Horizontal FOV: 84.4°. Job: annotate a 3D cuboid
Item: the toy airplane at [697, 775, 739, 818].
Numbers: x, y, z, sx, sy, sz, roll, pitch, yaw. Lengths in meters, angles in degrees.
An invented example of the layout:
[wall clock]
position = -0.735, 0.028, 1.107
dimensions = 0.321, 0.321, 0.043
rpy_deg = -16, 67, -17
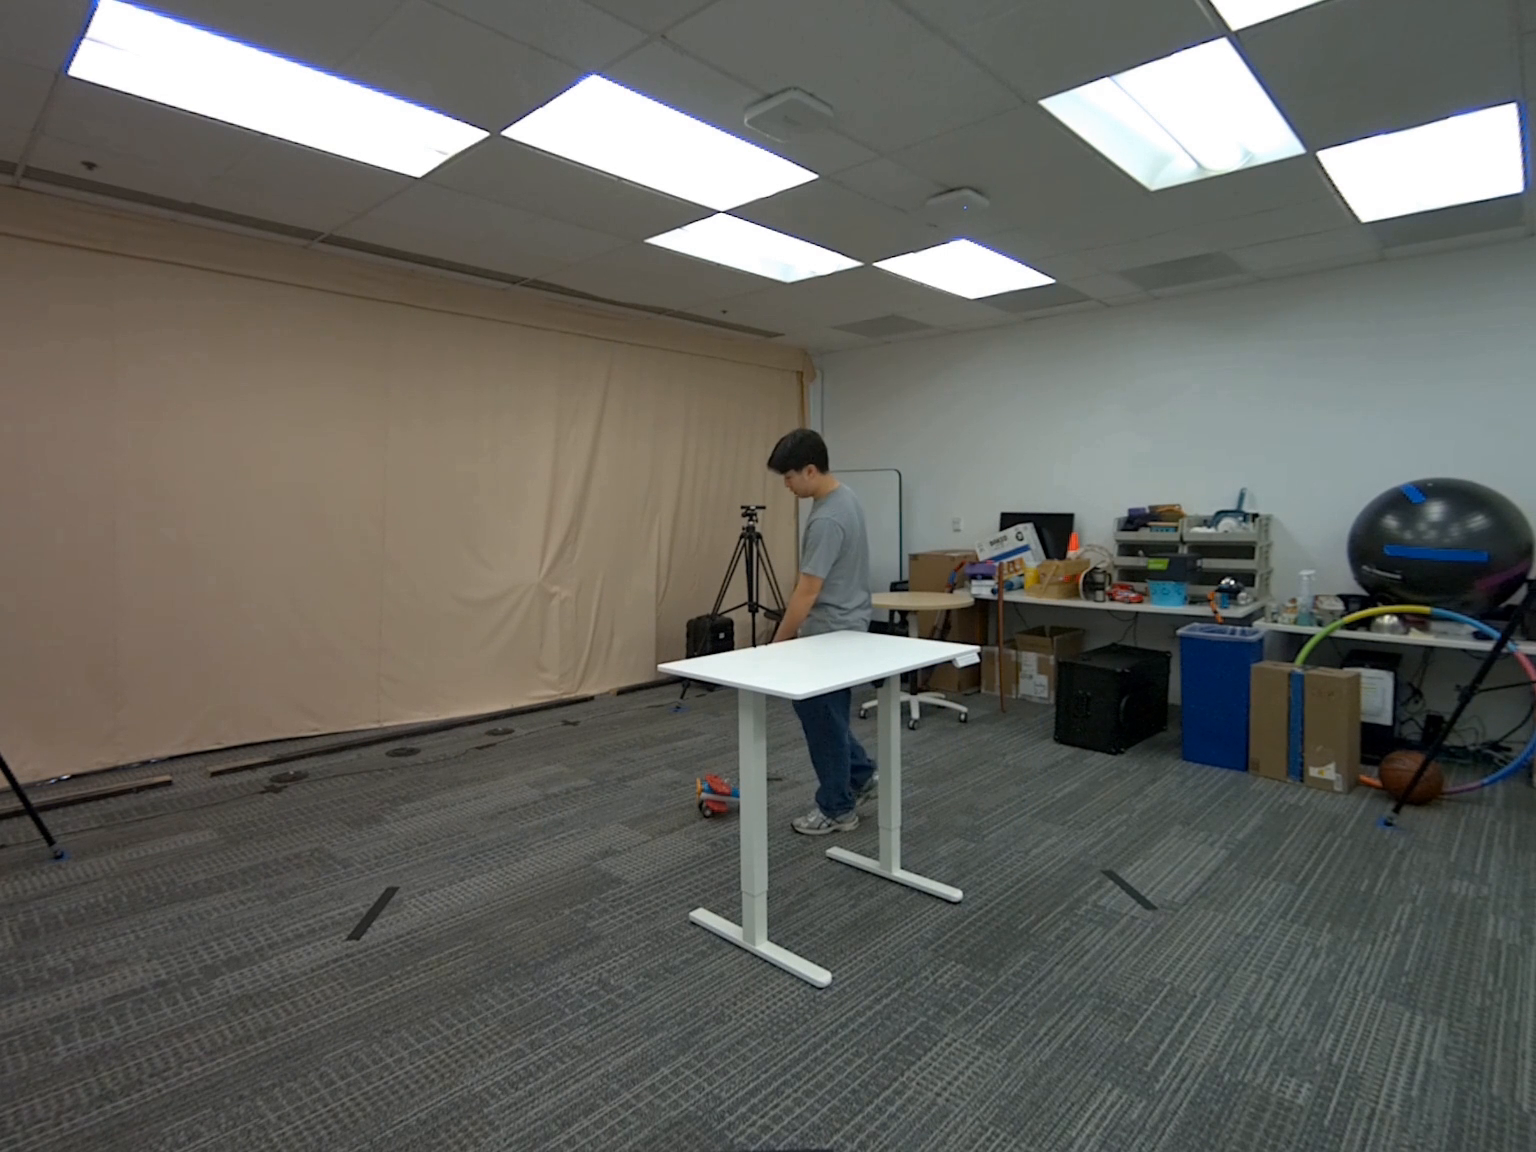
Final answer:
[toy airplane]
position = -0.212, 1.004, 3.852
dimensions = 0.251, 0.156, 0.259
rpy_deg = -6, 7, -43
